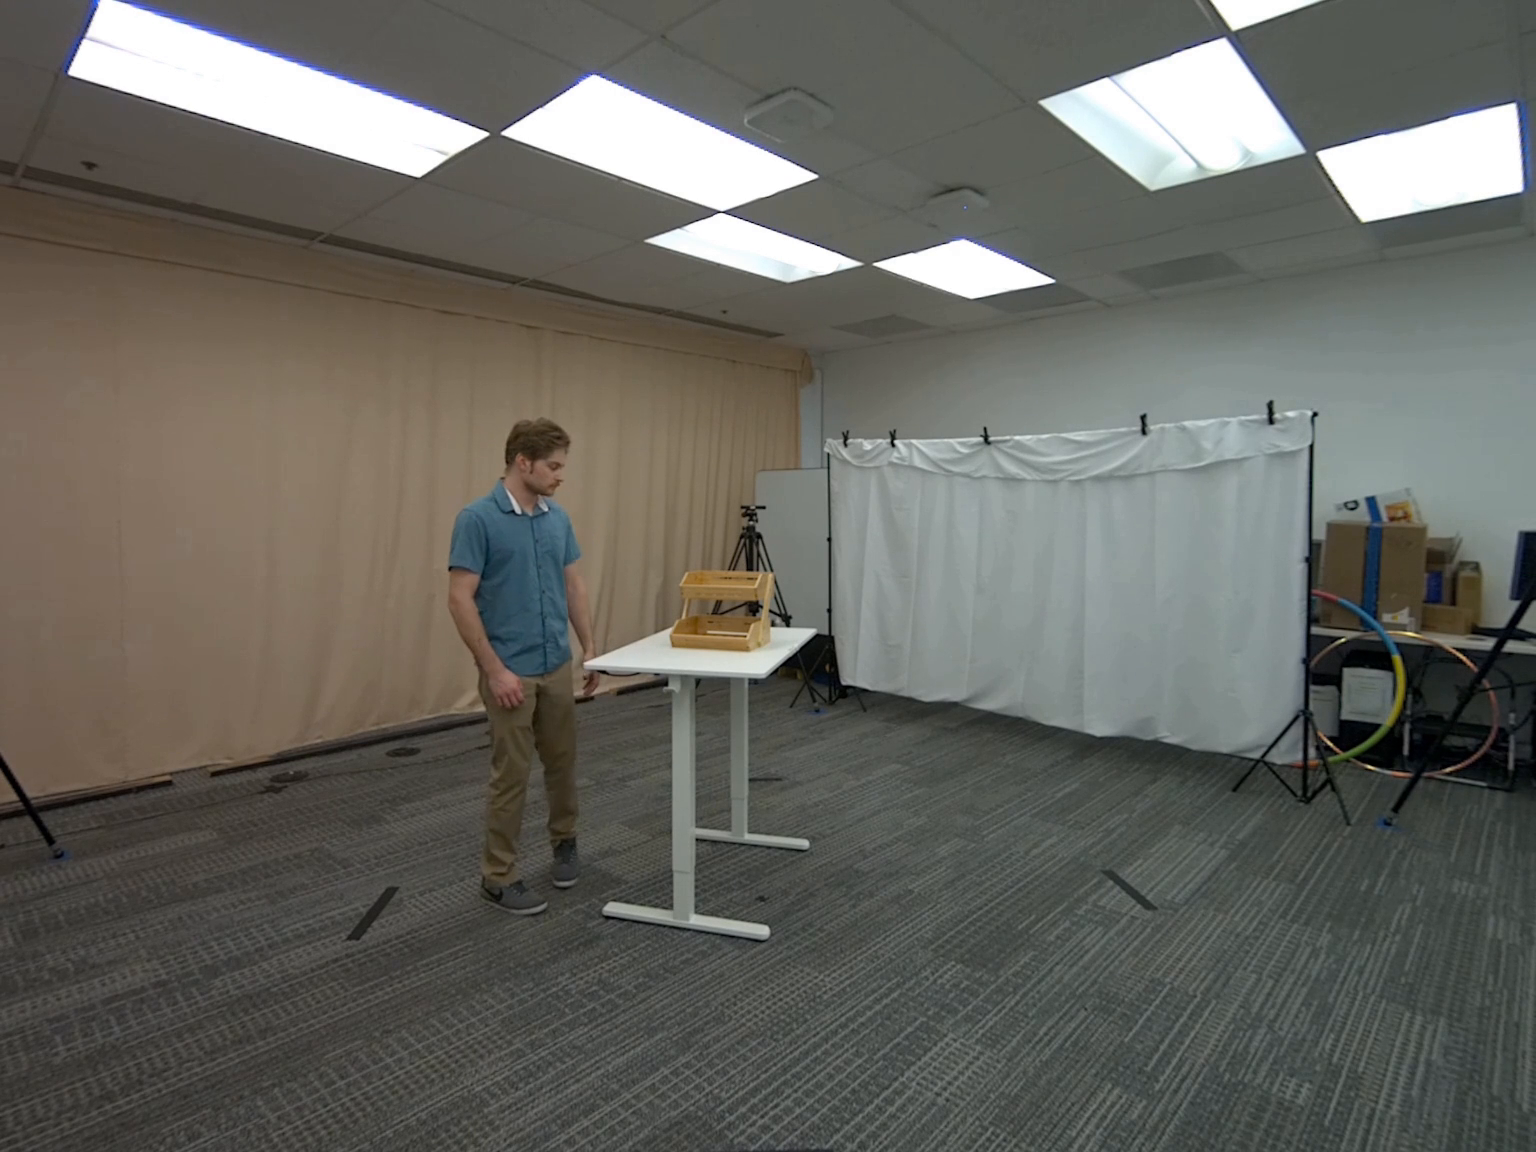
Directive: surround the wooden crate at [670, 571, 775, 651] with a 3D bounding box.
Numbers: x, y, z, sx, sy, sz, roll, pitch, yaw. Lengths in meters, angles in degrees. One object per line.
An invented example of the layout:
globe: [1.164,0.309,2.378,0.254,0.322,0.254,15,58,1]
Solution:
wooden crate: [-0.165,0.121,3.100,0.331,0.273,0.296,1,3,20]
